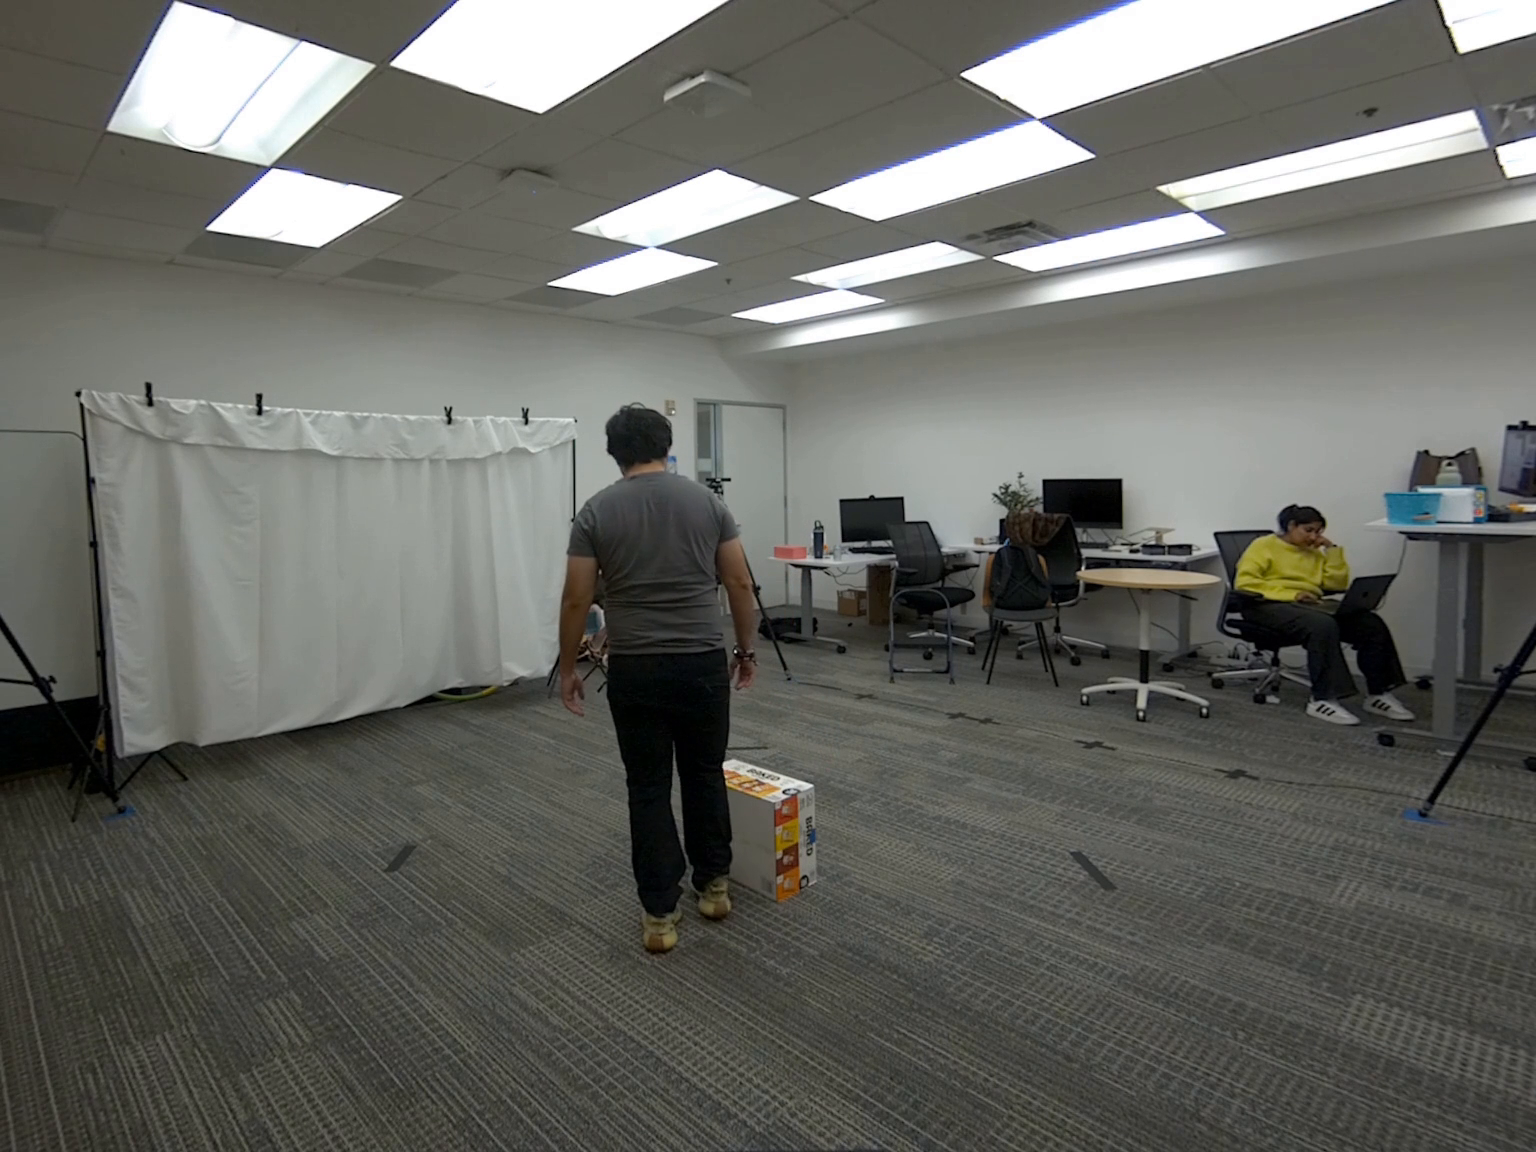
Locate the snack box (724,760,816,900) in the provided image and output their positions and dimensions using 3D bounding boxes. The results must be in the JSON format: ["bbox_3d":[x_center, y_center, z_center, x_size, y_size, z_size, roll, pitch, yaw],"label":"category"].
[{"bbox_3d":[-0.046,0.883,3.016,0.200,0.339,0.418,-5,7,-44],"label":"snack box"}]
